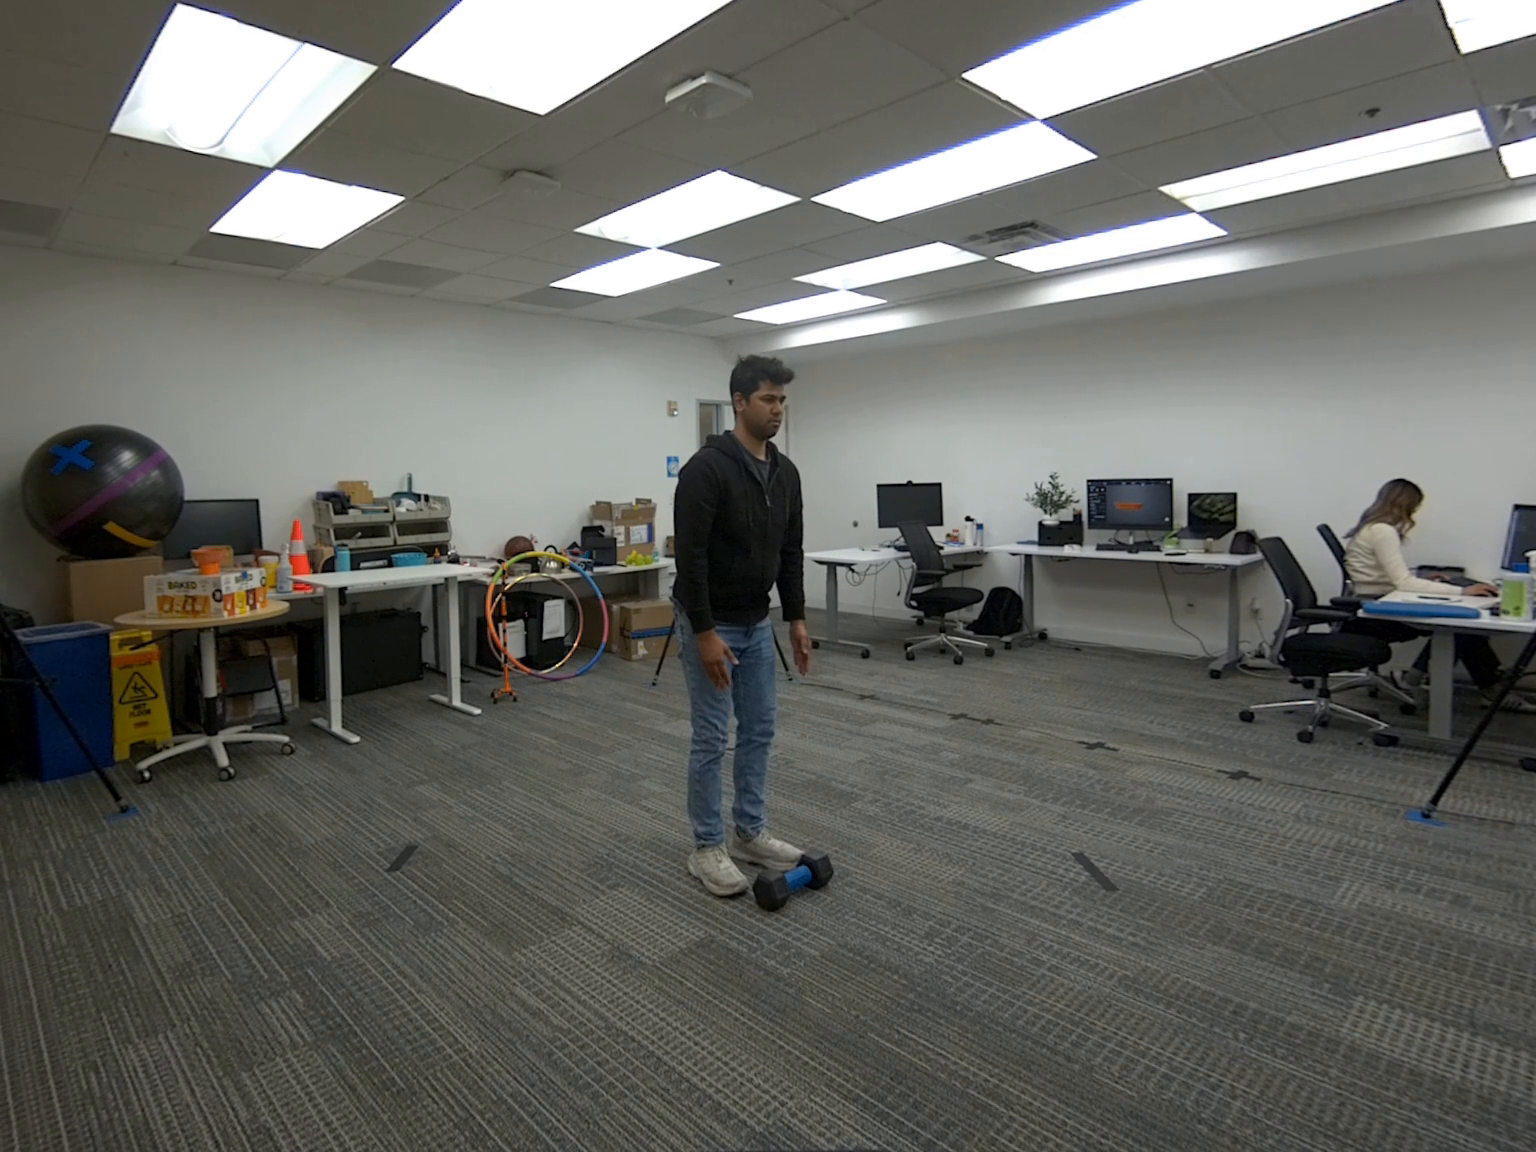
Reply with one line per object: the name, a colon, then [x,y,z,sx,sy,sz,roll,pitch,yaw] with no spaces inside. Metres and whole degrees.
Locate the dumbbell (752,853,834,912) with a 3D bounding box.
dumbbell: [0.090,1.014,2.862,0.286,0.121,0.113,-7,40,-43]
